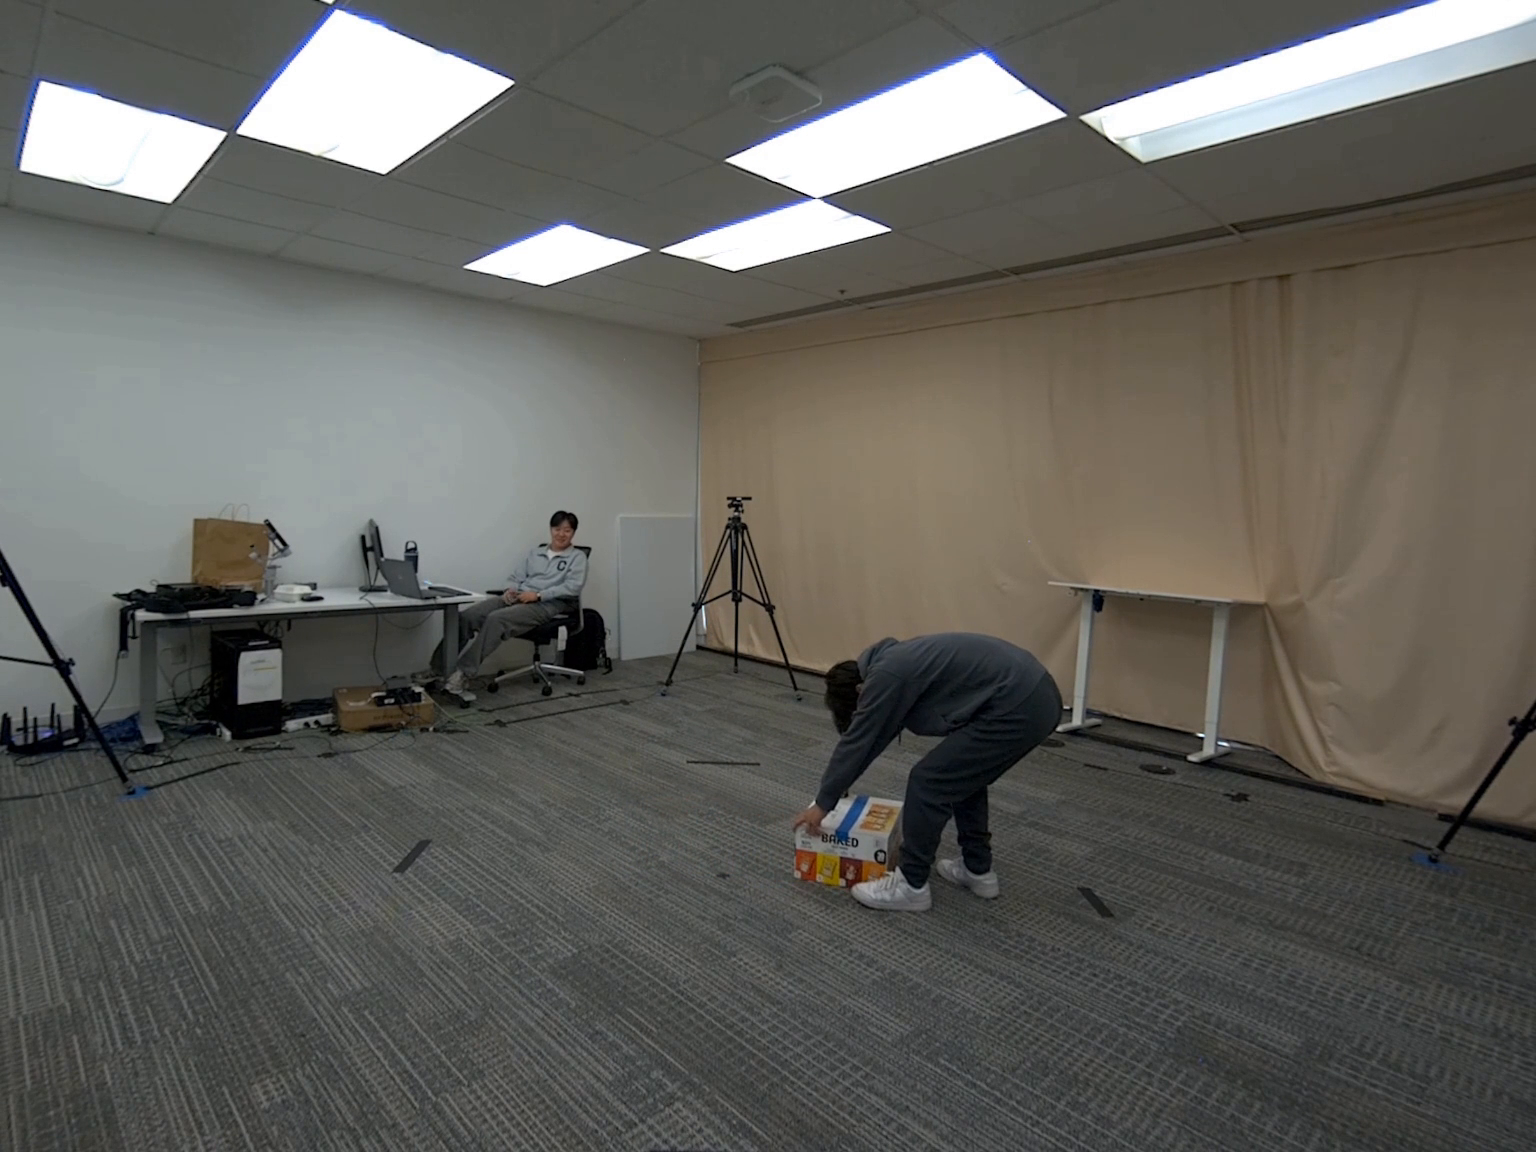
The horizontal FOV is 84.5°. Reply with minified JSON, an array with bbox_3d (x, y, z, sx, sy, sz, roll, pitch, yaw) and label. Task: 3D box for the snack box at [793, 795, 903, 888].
[{"bbox_3d":[0.312,1.007,3.223,0.345,0.205,0.400,3,5,19],"label":"snack box"}]
